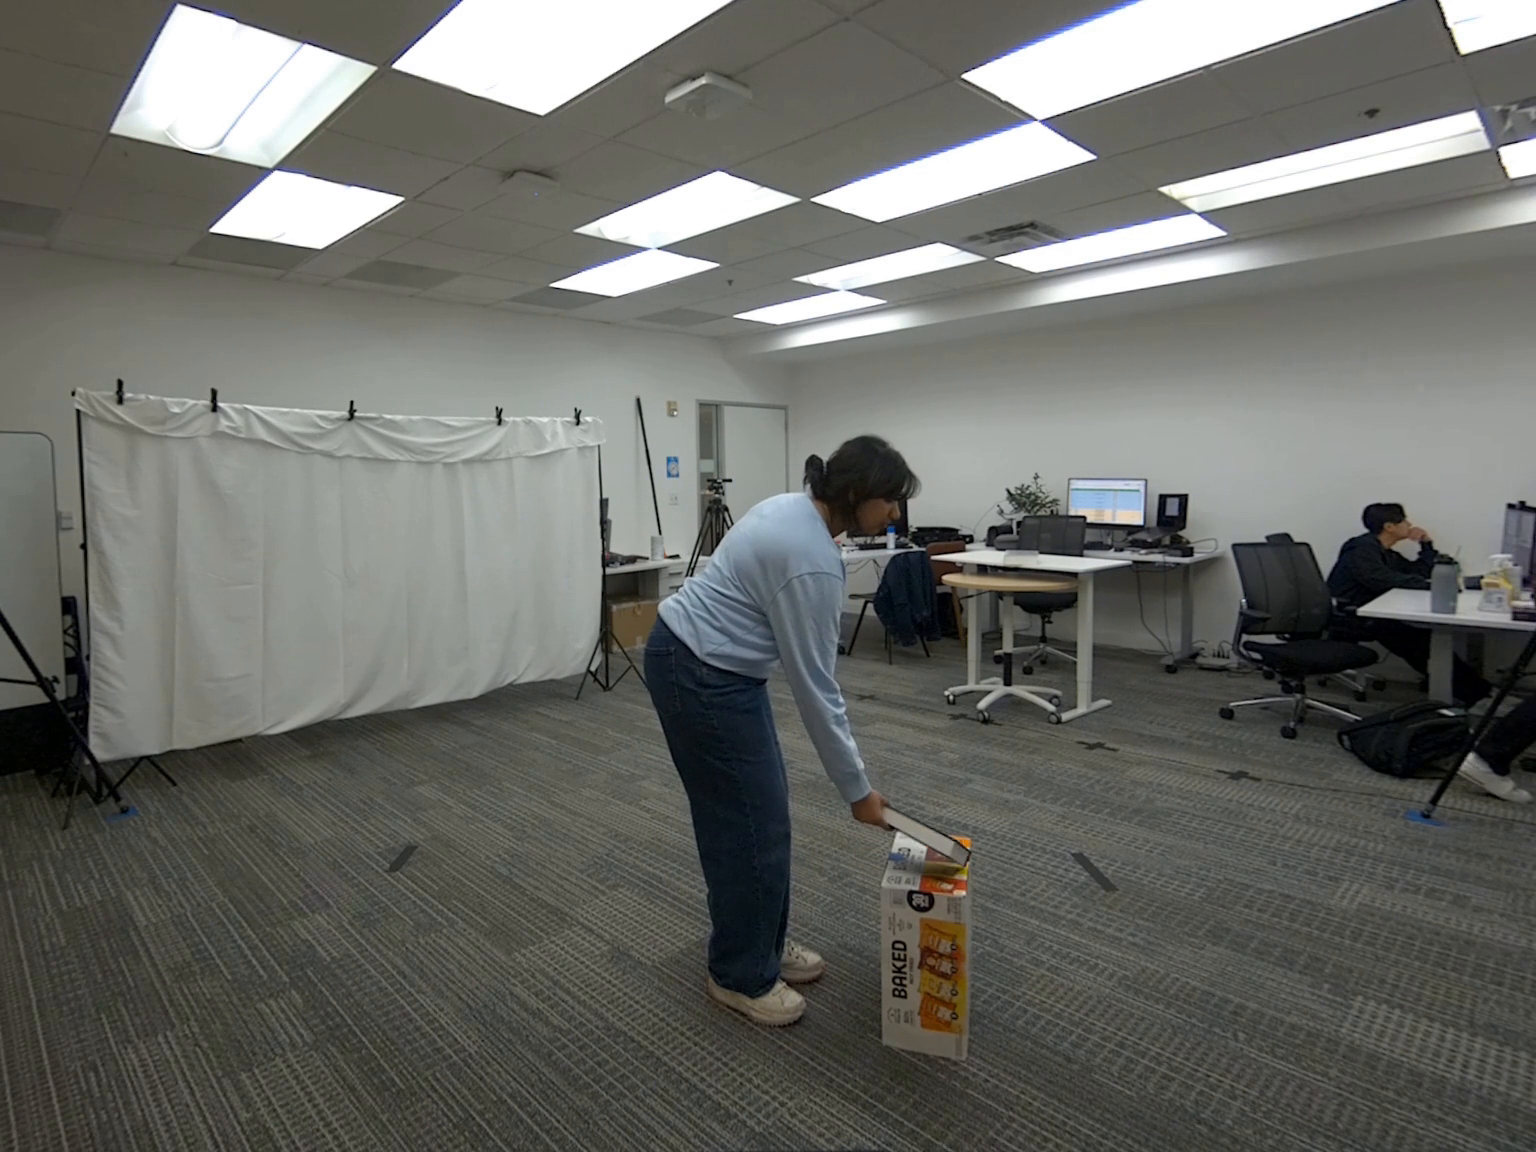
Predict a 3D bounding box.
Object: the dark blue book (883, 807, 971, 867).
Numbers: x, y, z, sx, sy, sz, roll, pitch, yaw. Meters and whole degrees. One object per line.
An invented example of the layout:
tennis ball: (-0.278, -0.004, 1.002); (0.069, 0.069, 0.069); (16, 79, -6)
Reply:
dark blue book: (0.377, 0.636, 2.179); (0.254, 0.045, 0.157); (19, -14, 35)
